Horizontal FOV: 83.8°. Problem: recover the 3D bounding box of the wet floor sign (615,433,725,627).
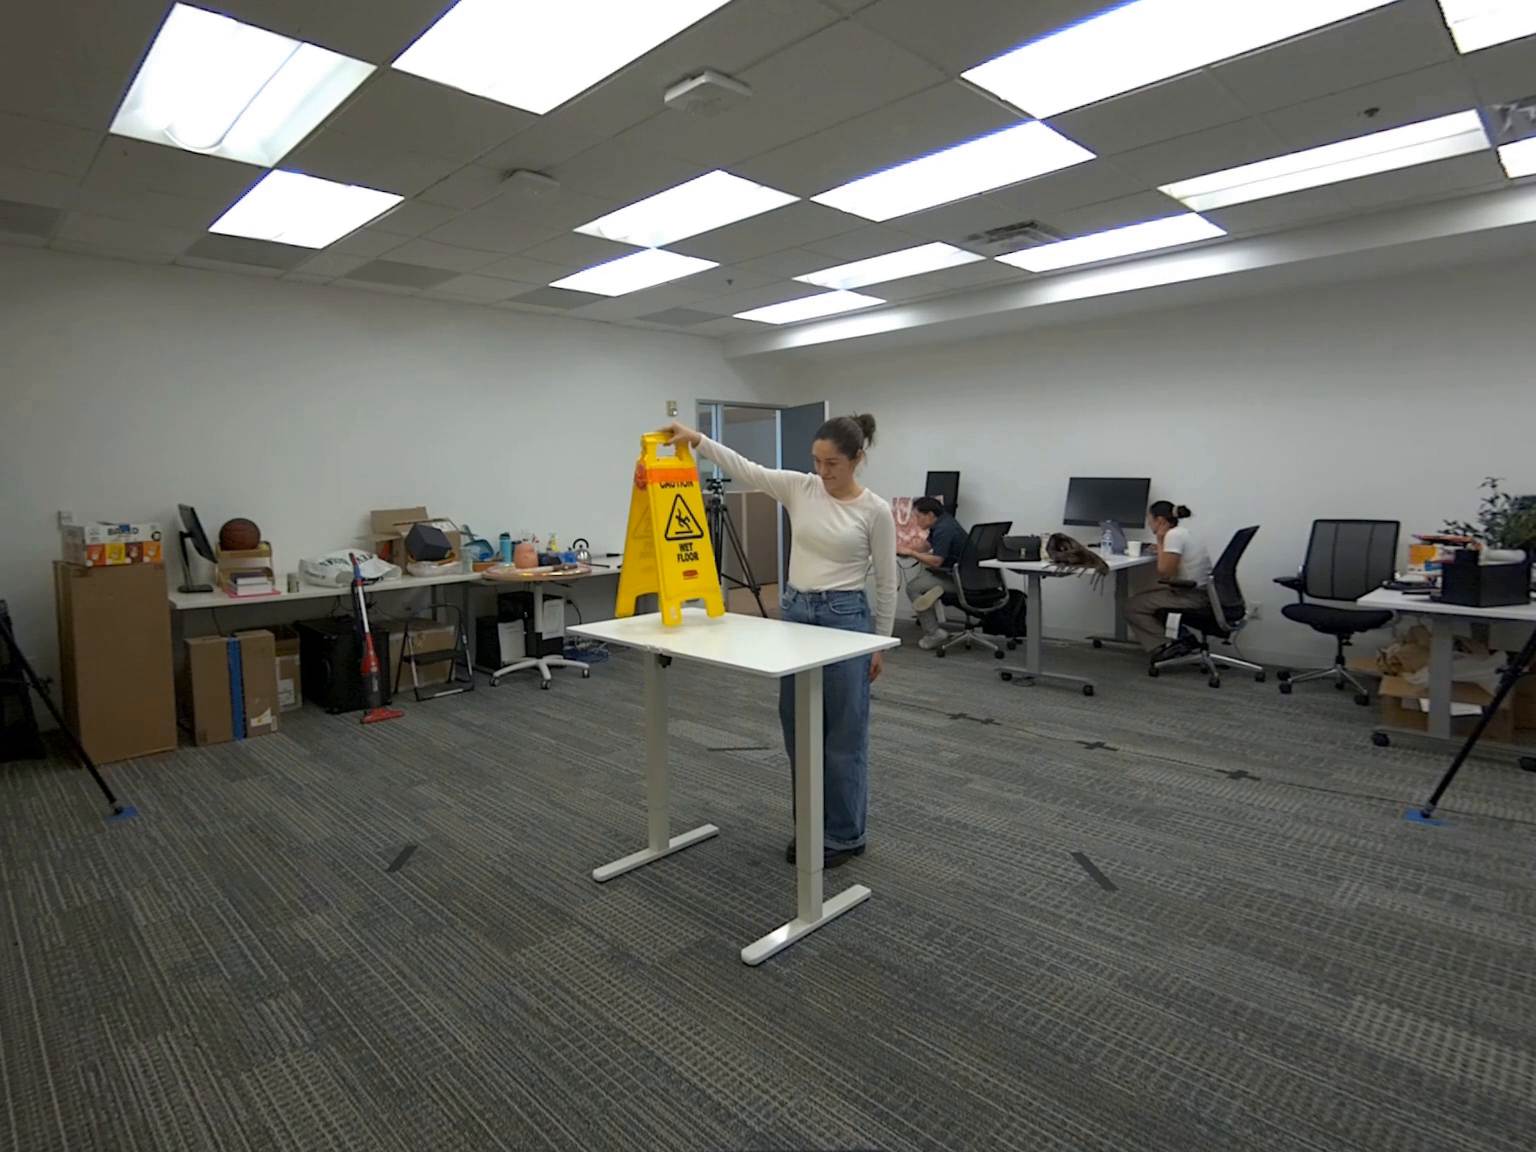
[{"bbox_3d":[-0.354,-0.178,3.016,0.298,0.644,0.275,3,6,44],"label":"wet floor sign"}]
